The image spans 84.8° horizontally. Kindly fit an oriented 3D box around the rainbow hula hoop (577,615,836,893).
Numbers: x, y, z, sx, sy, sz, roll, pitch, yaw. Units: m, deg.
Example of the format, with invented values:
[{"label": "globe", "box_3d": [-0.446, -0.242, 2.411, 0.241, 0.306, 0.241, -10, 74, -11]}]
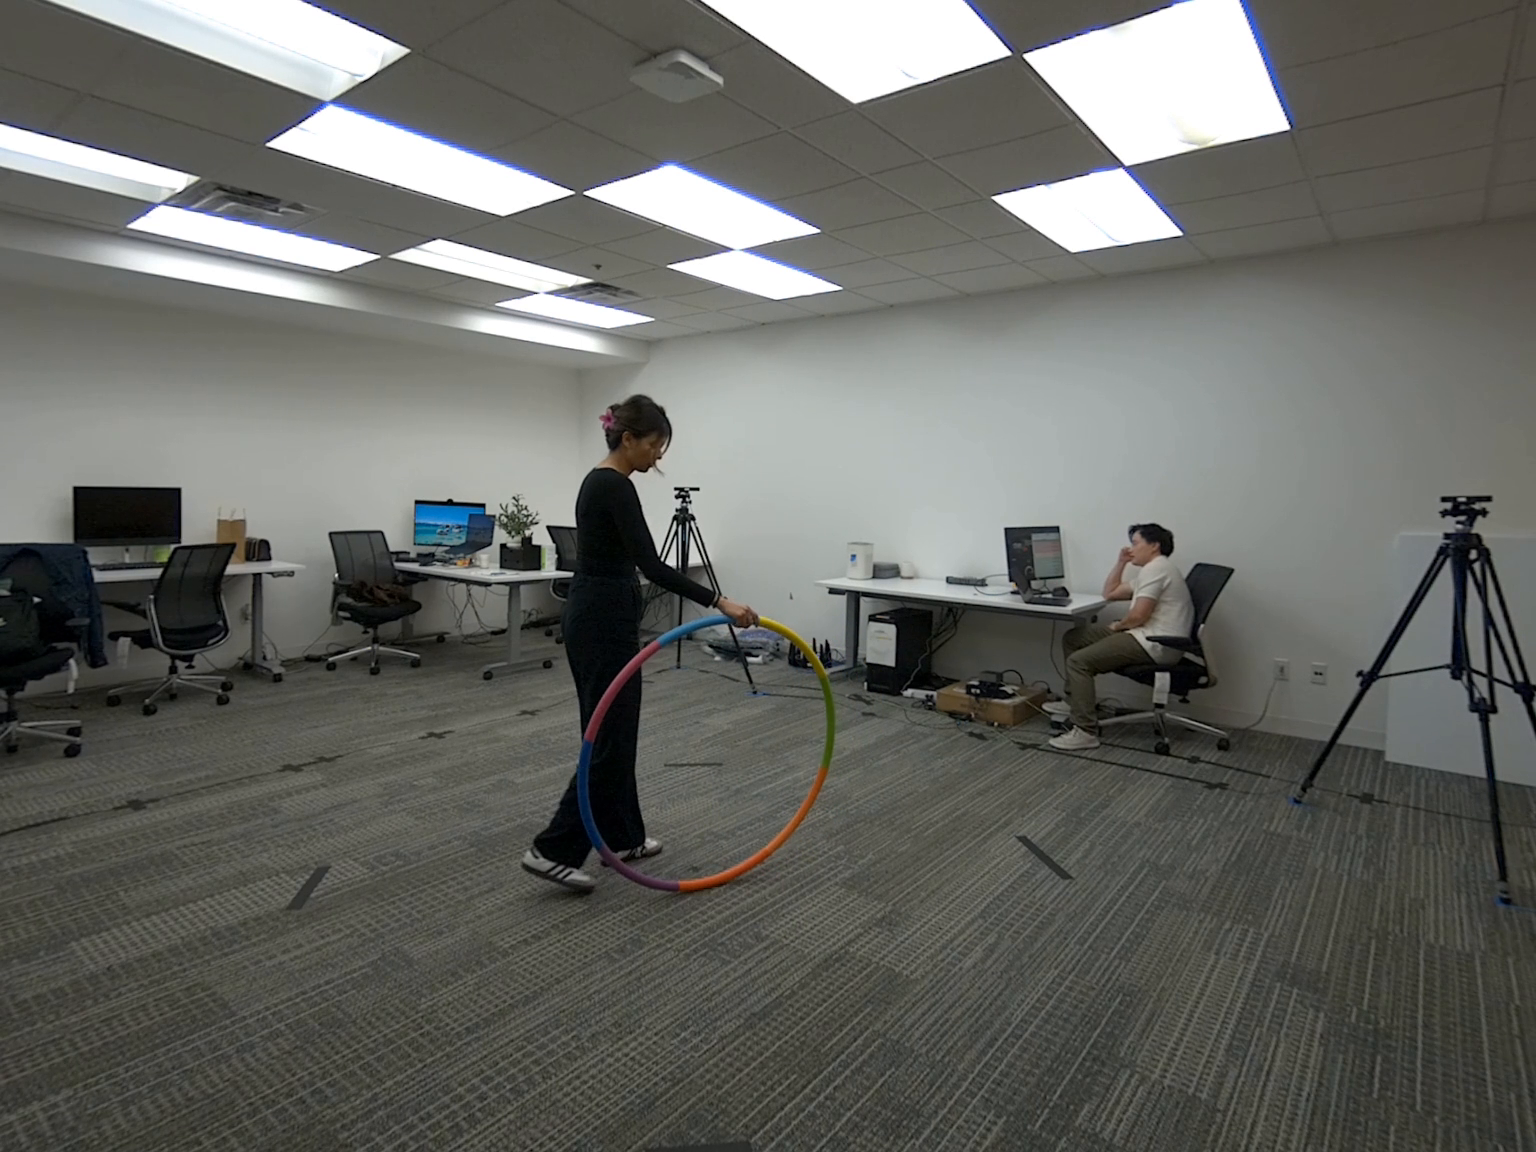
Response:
[{"label": "rainbow hula hoop", "box_3d": [-0.187, 0.606, 2.884, 0.953, 0.970, 0.037, -1, 11, -30]}]
